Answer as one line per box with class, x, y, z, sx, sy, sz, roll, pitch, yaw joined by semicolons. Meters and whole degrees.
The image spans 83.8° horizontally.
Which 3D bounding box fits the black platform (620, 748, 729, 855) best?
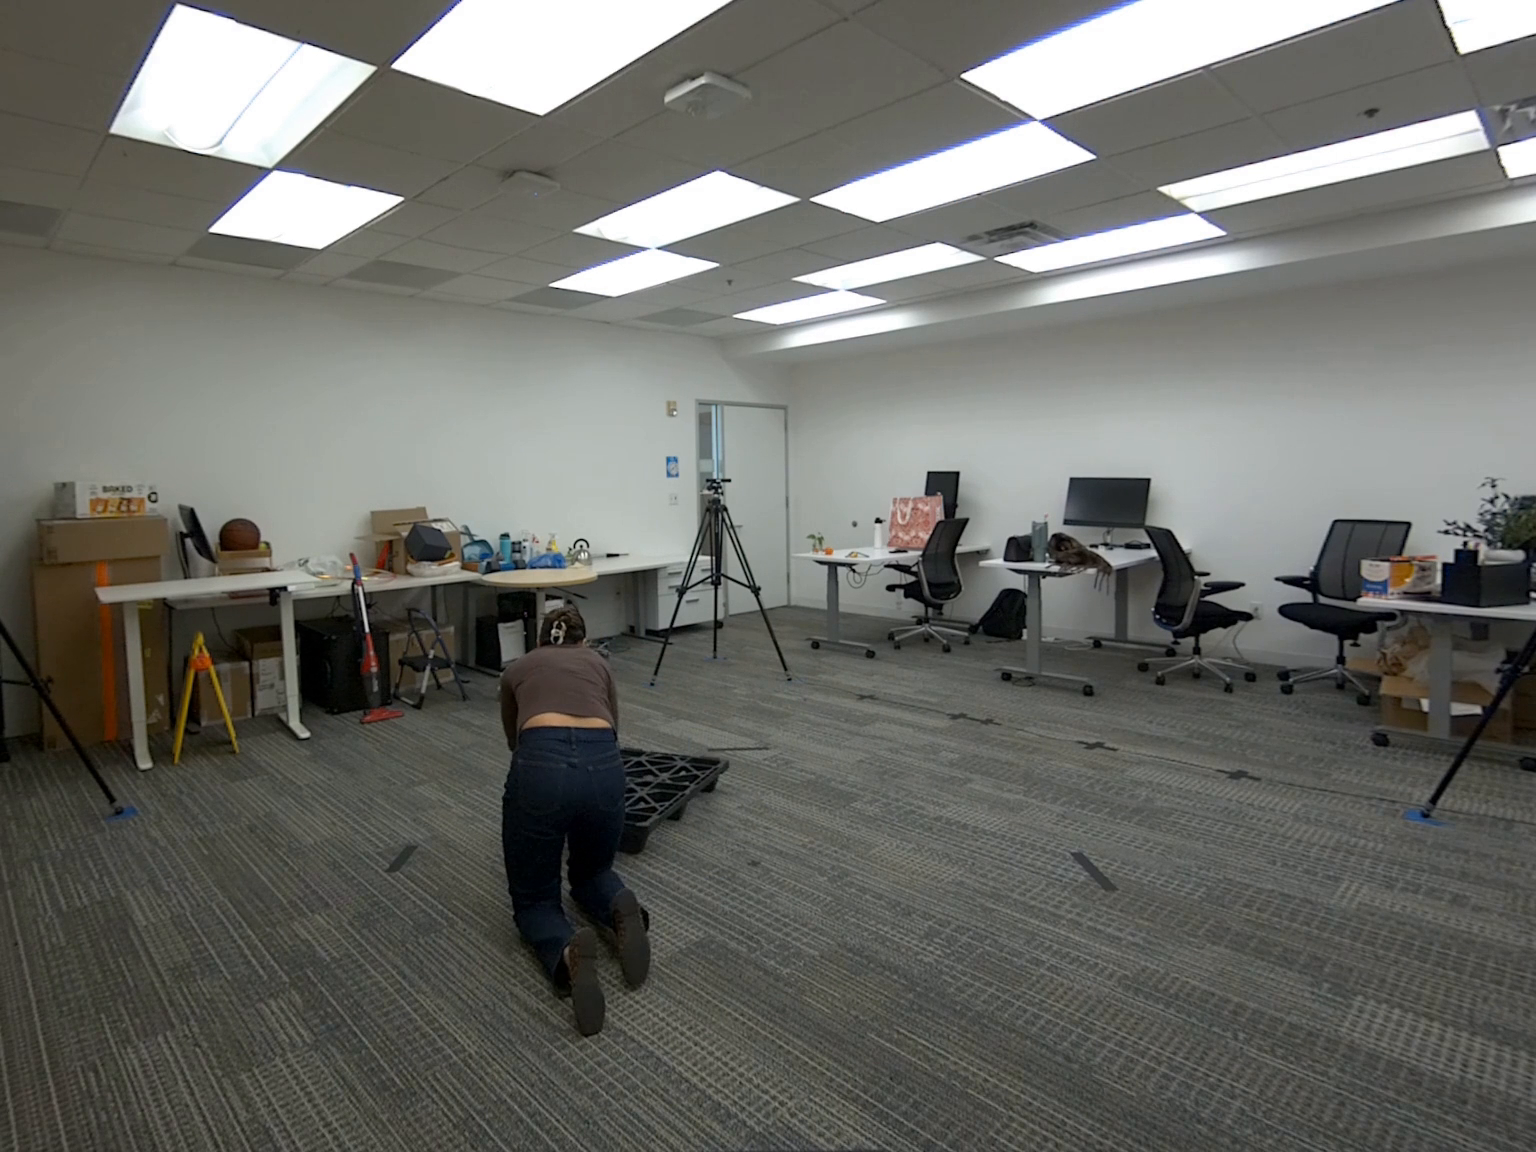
black platform;-0.585;0.934;3.616;0.617;0.143;0.793;0;6;21
